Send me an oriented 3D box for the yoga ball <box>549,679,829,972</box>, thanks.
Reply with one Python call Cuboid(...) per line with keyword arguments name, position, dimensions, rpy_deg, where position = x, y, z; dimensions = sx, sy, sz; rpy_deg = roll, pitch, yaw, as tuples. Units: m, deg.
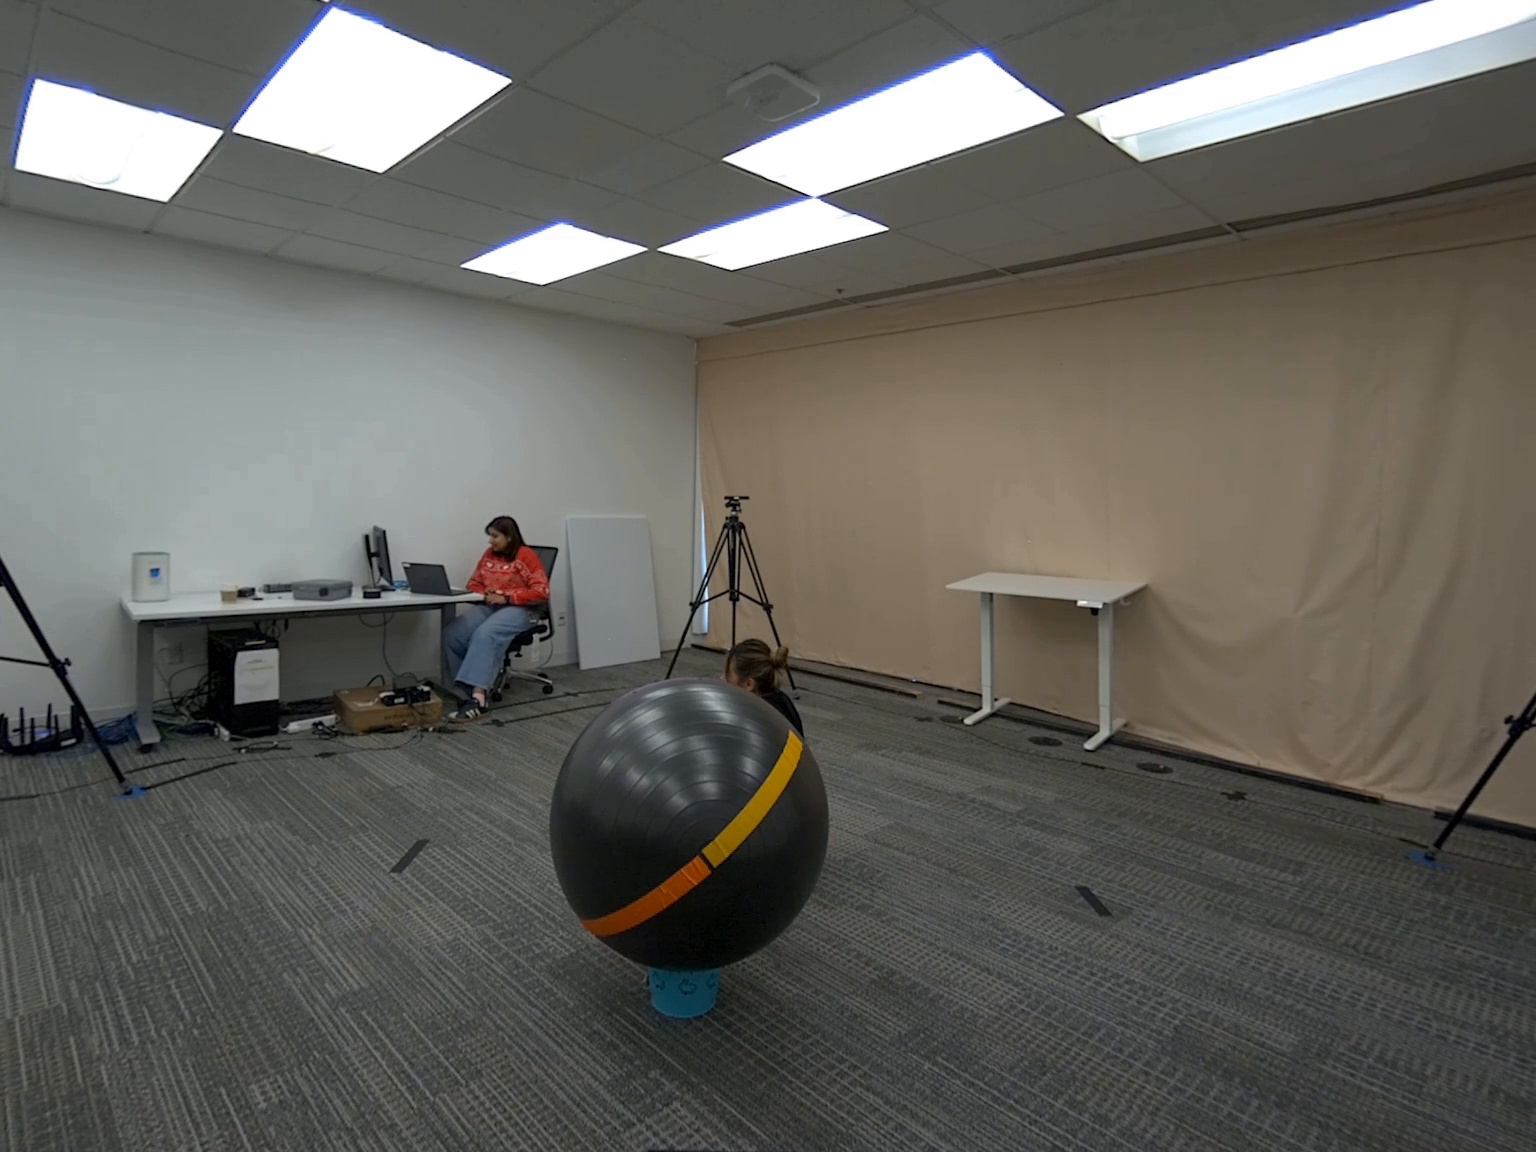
Cuboid(name="yoga ball", position=(-0.210, 0.672, 2.302), dimensions=(0.757, 0.756, 0.761), rpy_deg=(1, 4, -1))
